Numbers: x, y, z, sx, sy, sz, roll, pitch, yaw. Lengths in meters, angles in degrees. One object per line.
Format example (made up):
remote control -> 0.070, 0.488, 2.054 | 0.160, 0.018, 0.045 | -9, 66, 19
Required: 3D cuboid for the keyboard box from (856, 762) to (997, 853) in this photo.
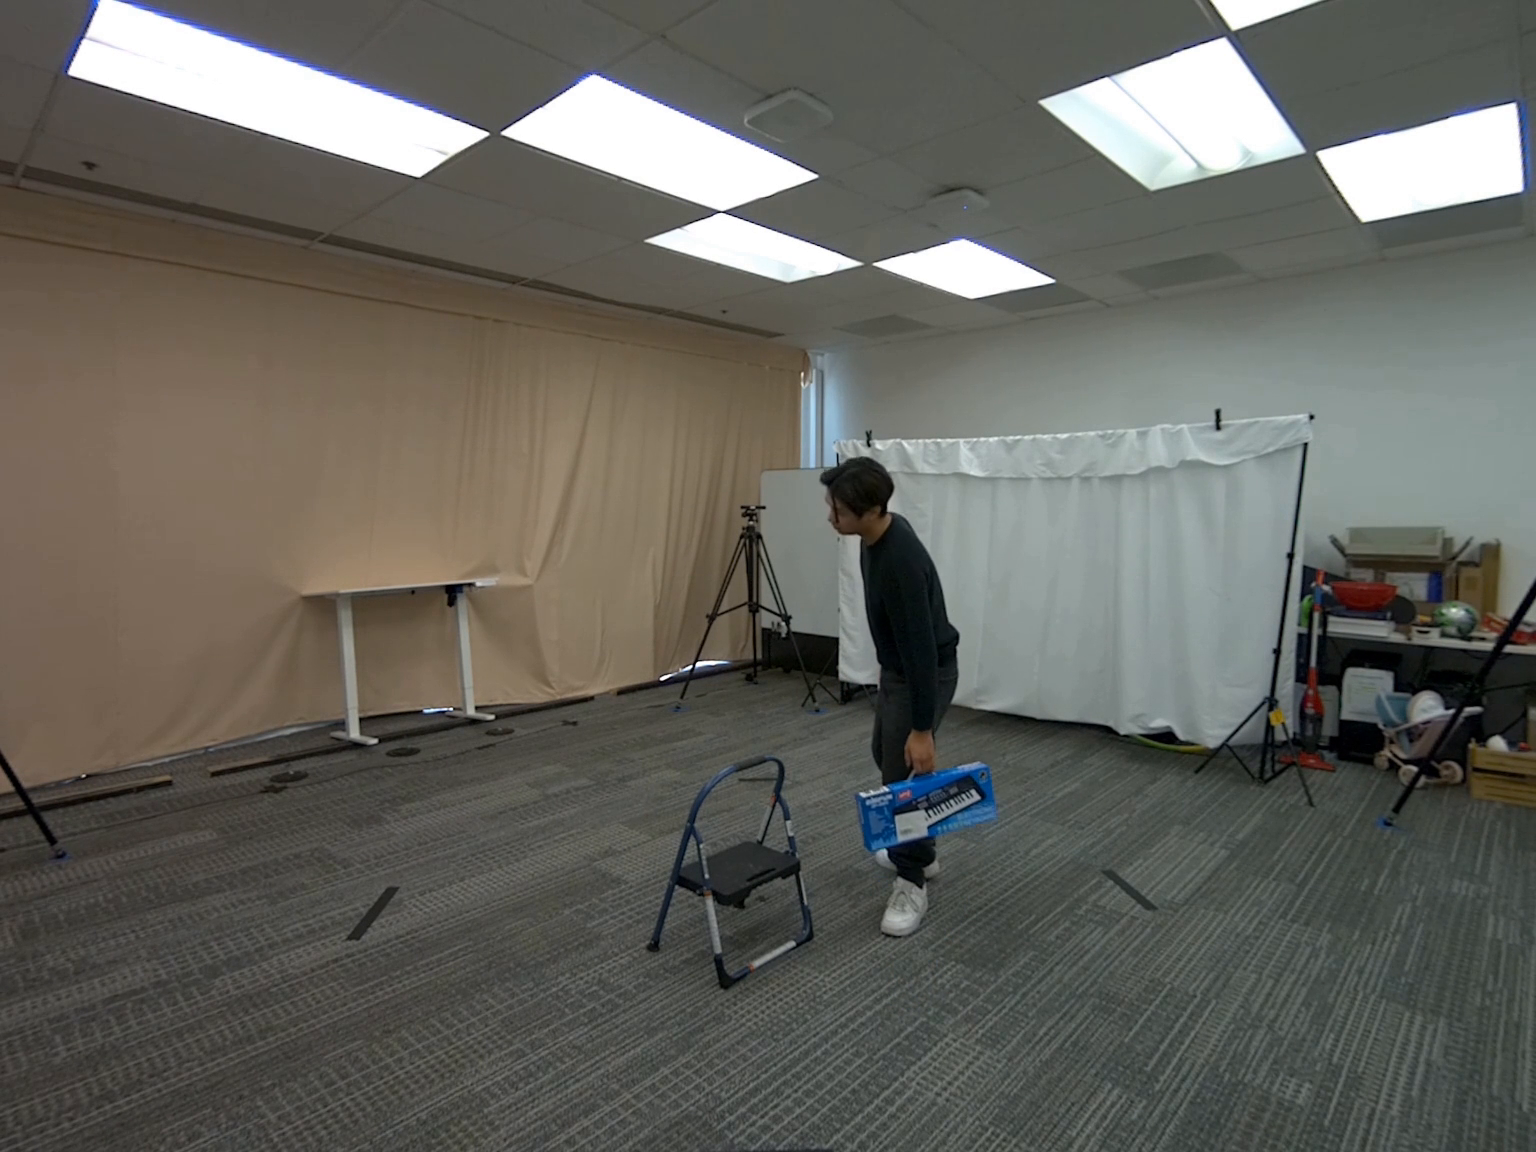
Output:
keyboard box -> 0.501, 0.728, 2.660 | 0.432, 0.176, 0.060 | -11, 2, -11
